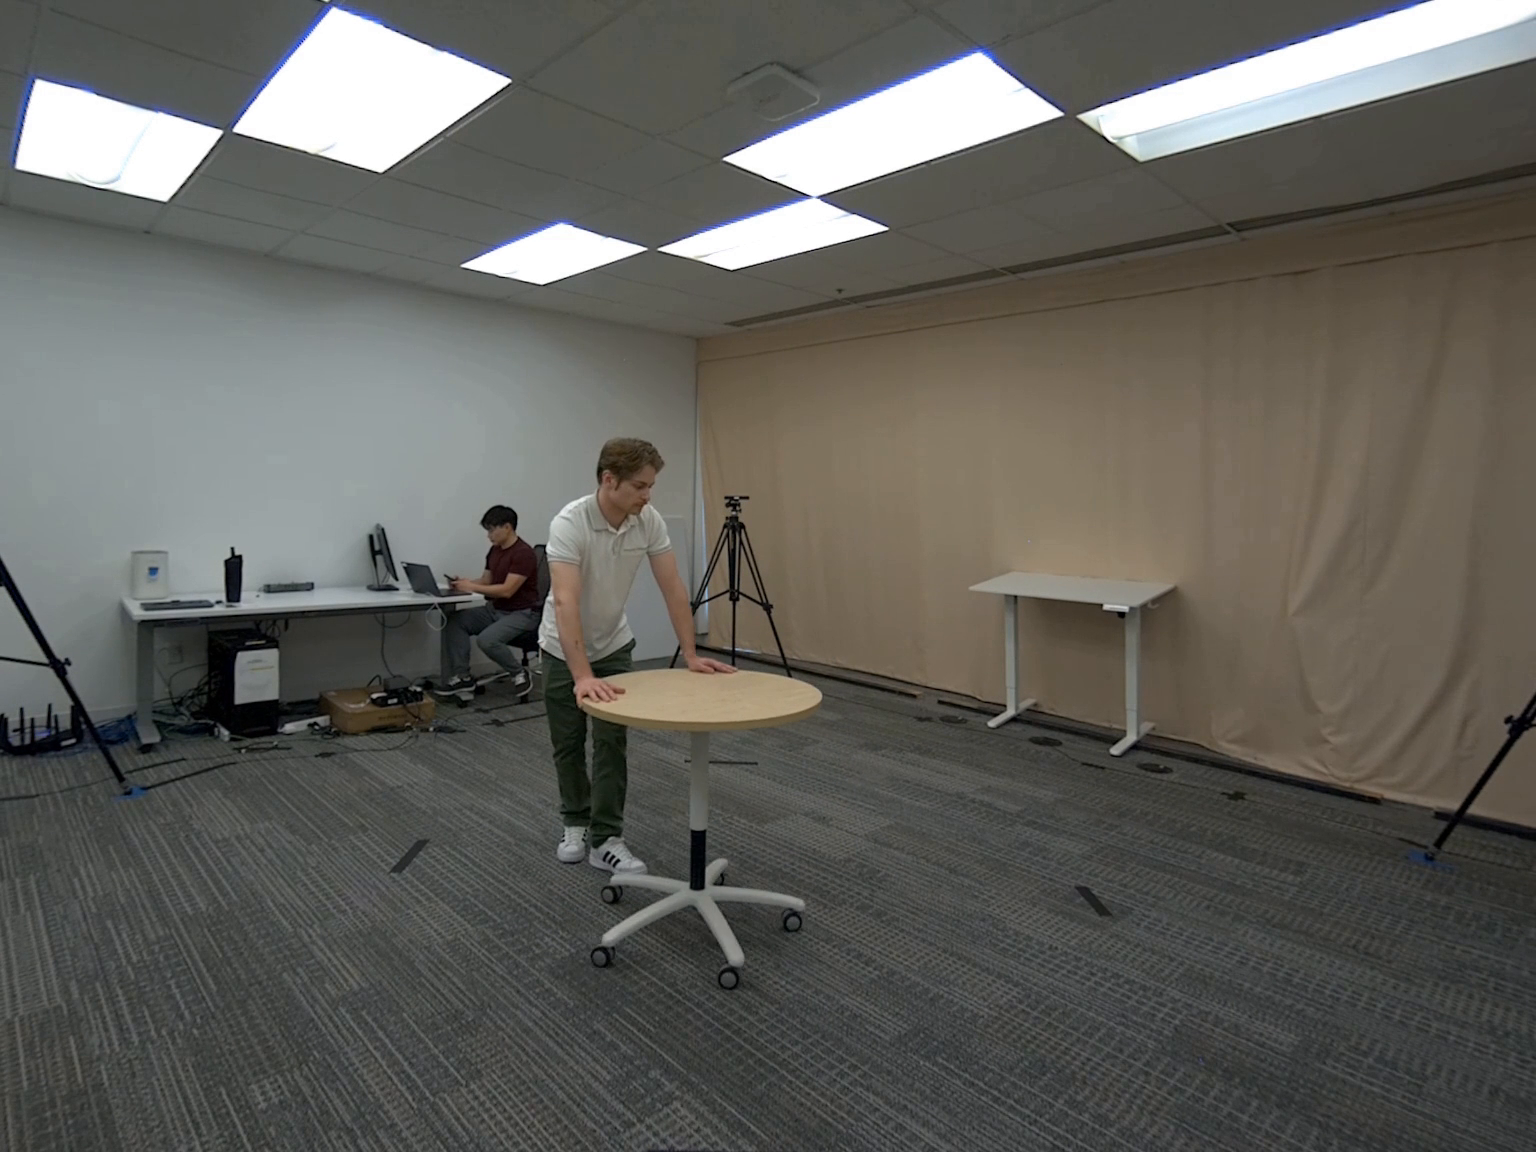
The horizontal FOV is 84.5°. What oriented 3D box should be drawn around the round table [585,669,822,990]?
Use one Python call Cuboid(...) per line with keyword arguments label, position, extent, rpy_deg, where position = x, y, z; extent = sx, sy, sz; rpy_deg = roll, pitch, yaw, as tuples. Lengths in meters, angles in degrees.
Cuboid(label="round table", position=(-0.225, 0.757, 2.677), extent=(0.763, 0.792, 0.766), rpy_deg=(1, 4, -1))
